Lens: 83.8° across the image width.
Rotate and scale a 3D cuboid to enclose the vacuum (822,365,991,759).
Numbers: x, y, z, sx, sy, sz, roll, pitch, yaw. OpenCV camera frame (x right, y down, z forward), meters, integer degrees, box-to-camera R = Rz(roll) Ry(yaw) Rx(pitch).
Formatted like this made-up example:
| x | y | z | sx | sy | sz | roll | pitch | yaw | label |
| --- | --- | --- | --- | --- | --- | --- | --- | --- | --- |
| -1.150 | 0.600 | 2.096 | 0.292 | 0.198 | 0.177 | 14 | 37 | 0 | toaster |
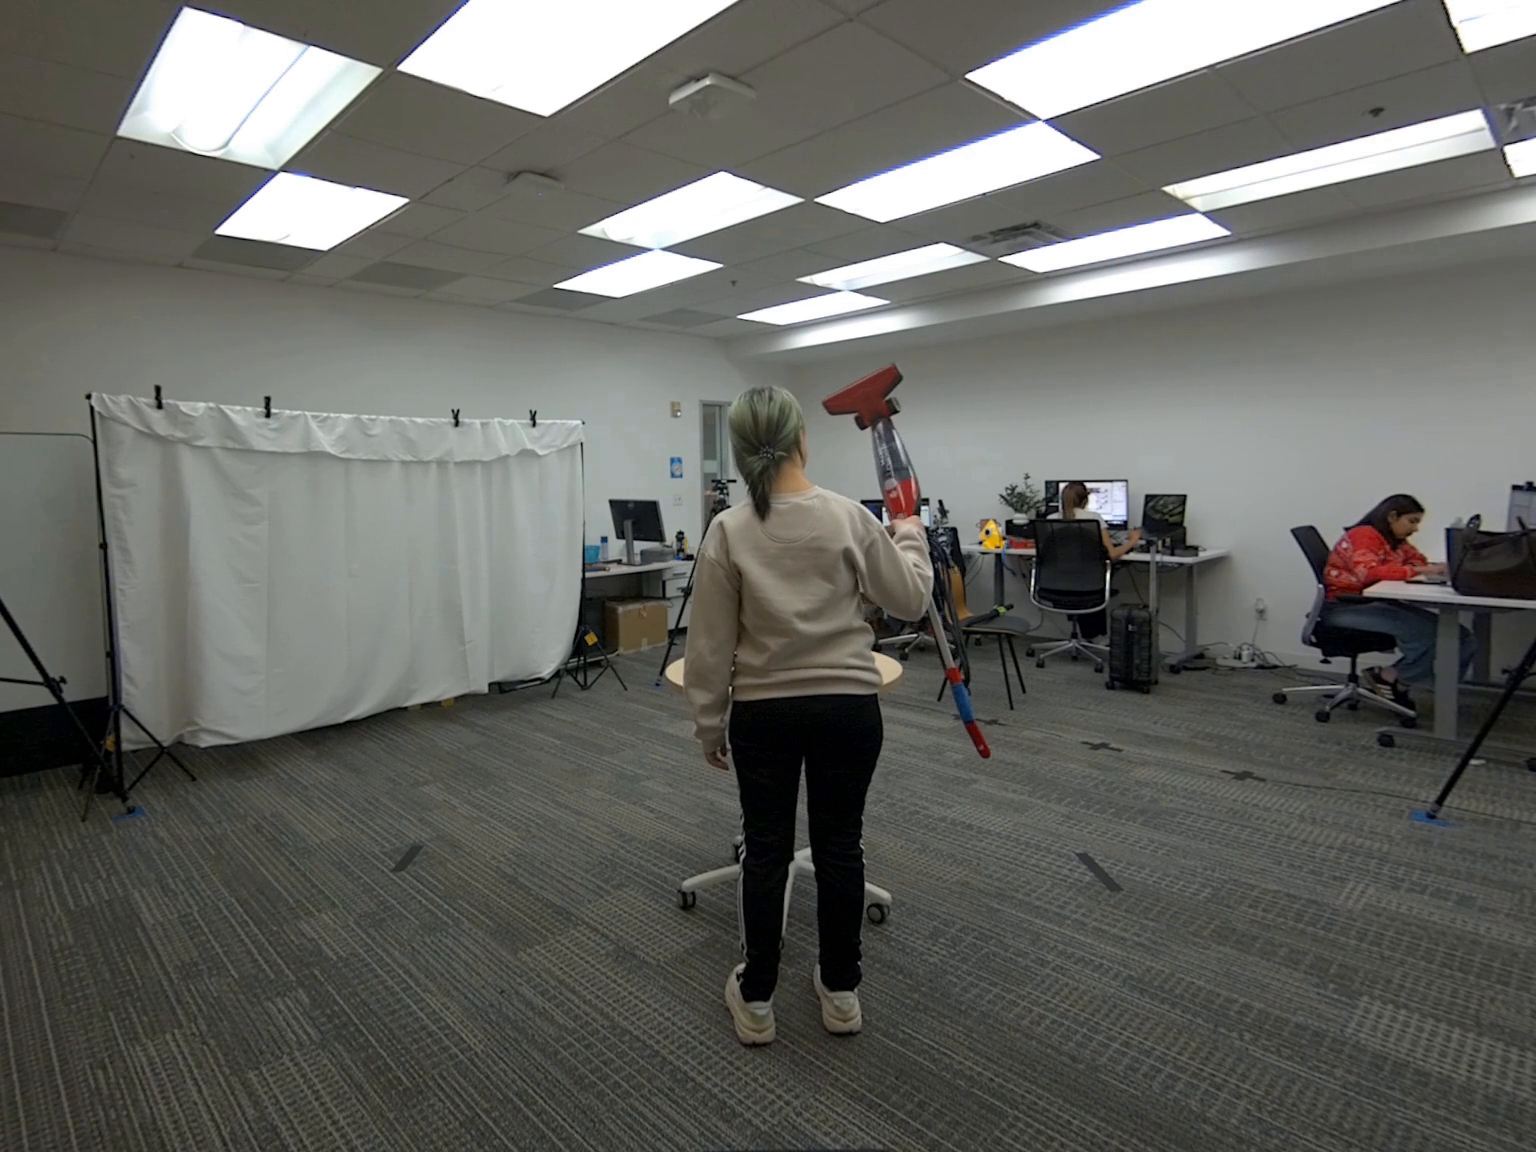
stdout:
| x | y | z | sx | sy | sz | roll | pitch | yaw | label |
| --- | --- | --- | --- | --- | --- | --- | --- | --- | --- |
| 0.441 | -0.048 | 2.395 | 0.255 | 1.068 | 0.140 | -23 | -16 | 21 | vacuum |
